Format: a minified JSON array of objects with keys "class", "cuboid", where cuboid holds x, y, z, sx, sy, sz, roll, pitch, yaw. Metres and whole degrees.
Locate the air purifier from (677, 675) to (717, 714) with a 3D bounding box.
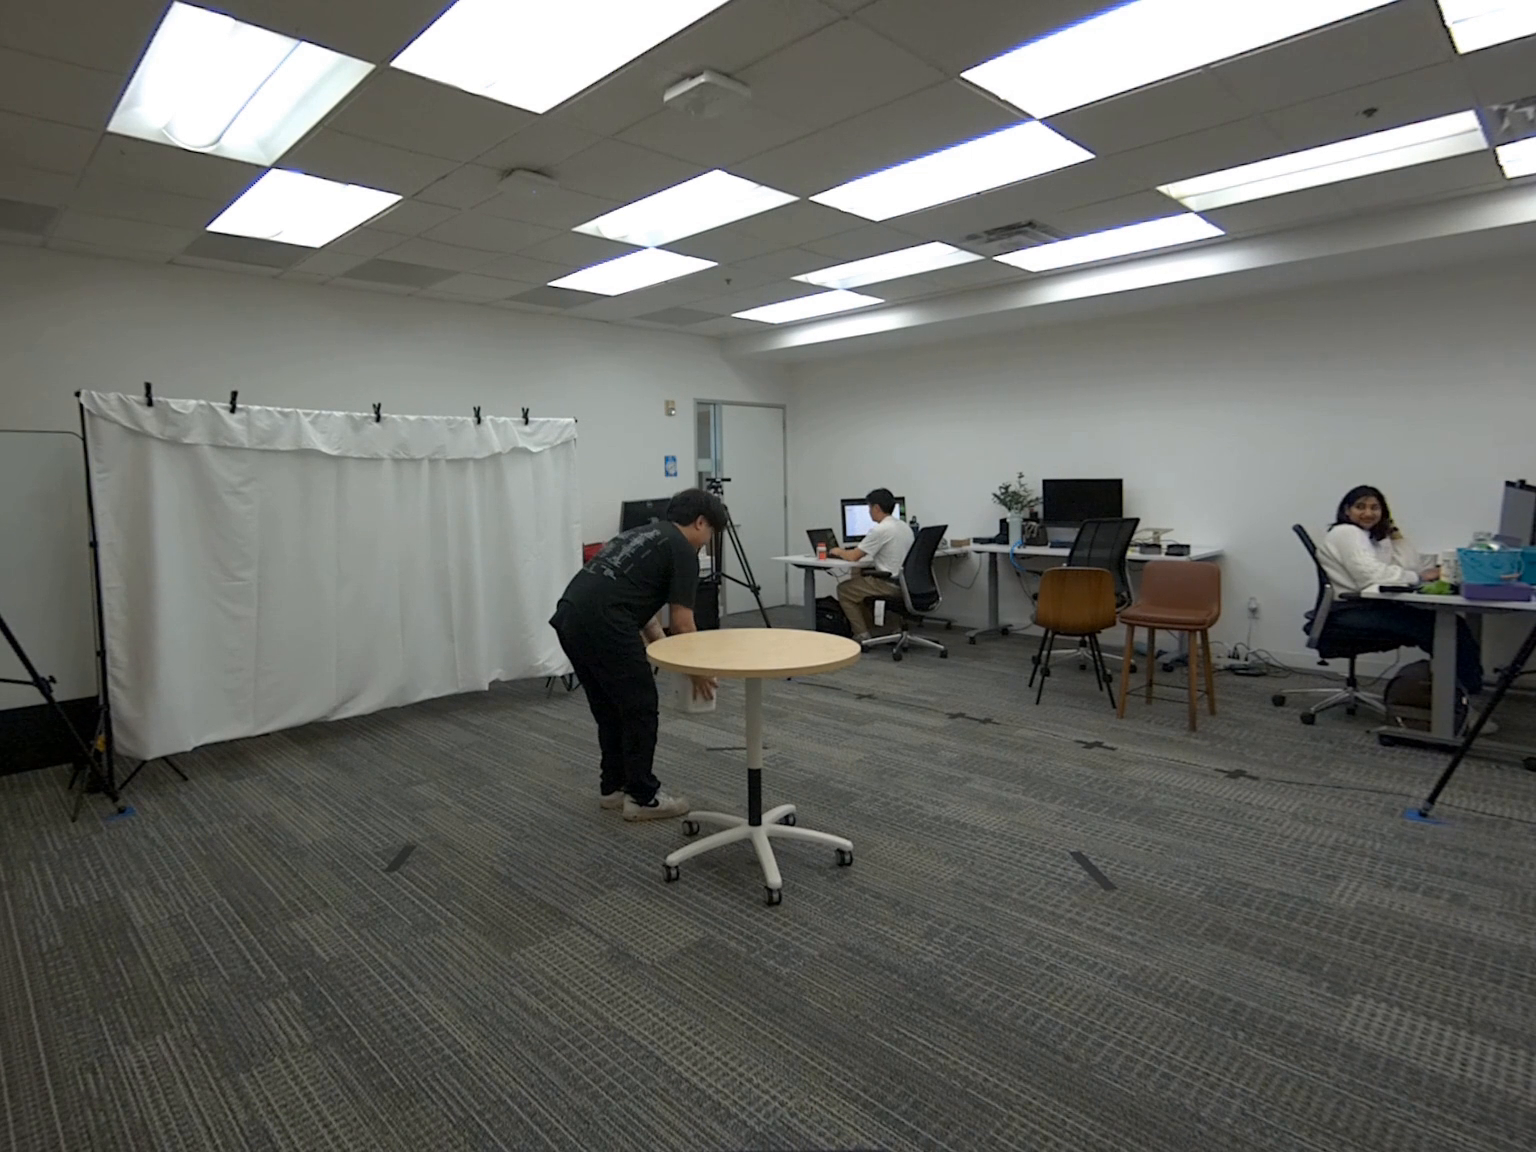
[{"class":"air purifier","cuboid":[-0.330,0.467,3.780,0.167,0.265,0.176,1,1,-35]}]
